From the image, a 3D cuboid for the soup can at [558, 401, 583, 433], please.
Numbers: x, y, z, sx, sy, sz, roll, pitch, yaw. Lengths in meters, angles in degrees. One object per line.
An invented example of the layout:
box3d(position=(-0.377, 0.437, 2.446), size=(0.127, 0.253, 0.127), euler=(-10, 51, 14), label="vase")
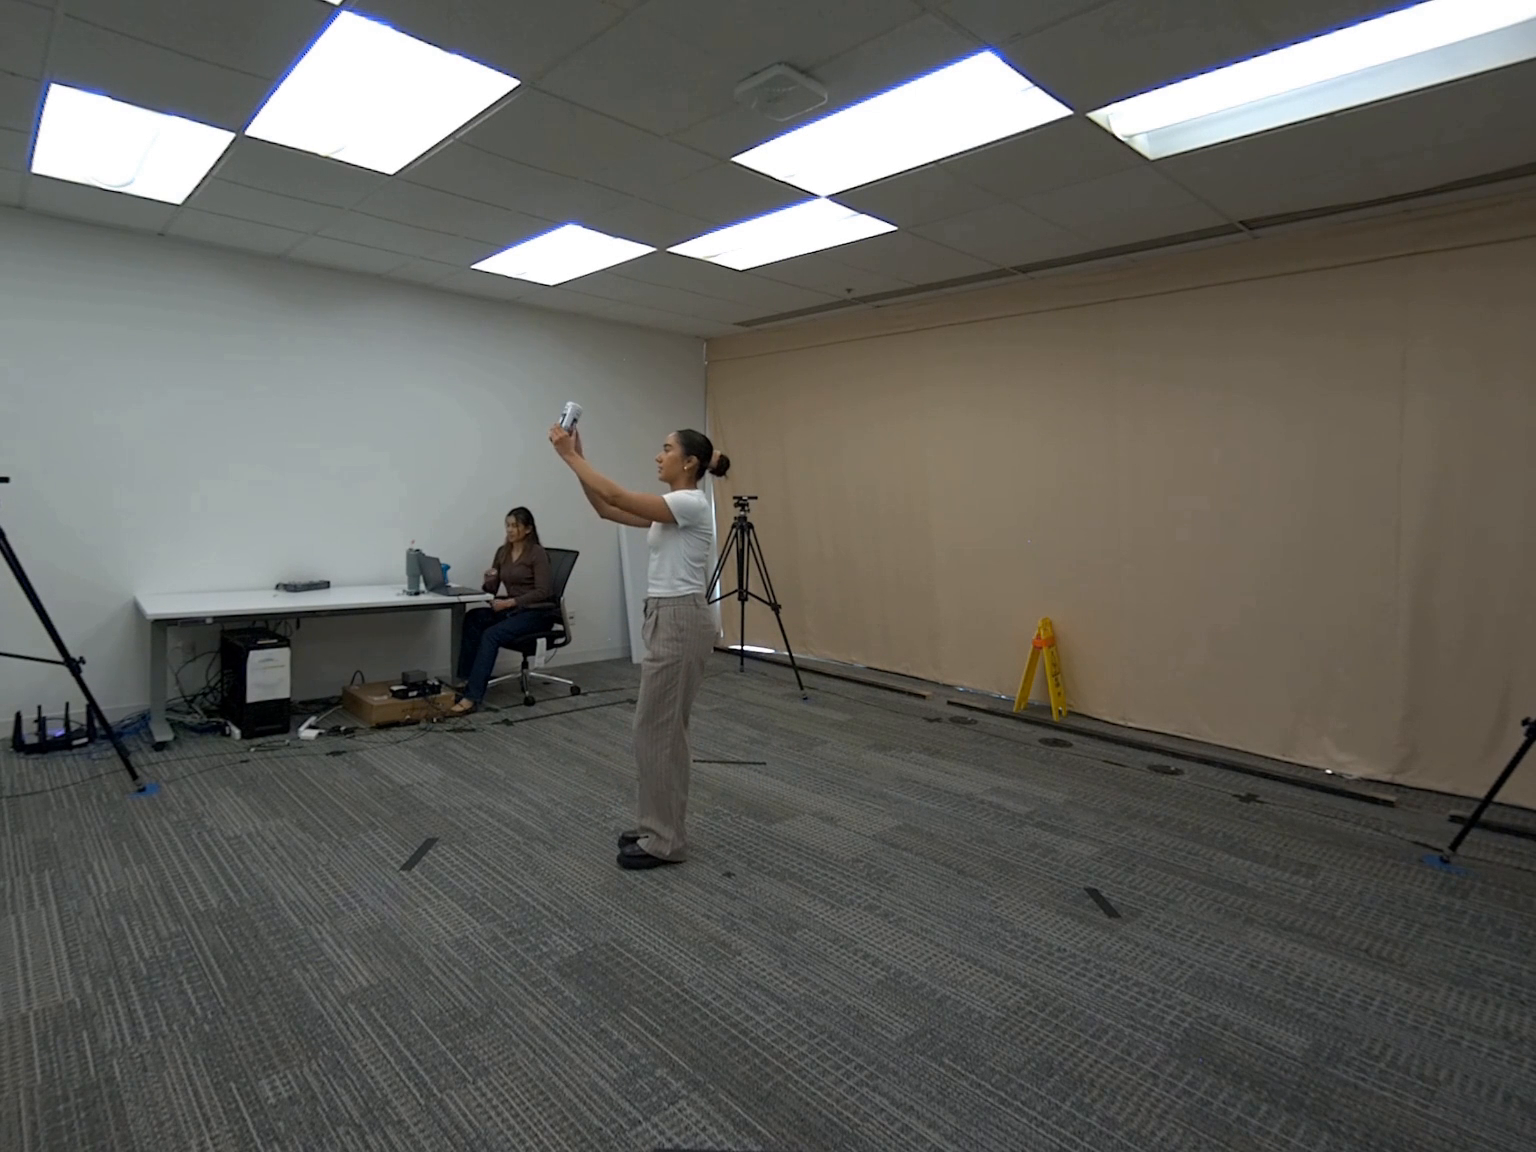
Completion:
box3d(position=(-0.769, -0.592, 3.193), size=(0.067, 0.122, 0.067), euler=(16, -6, 0), label="soup can")
